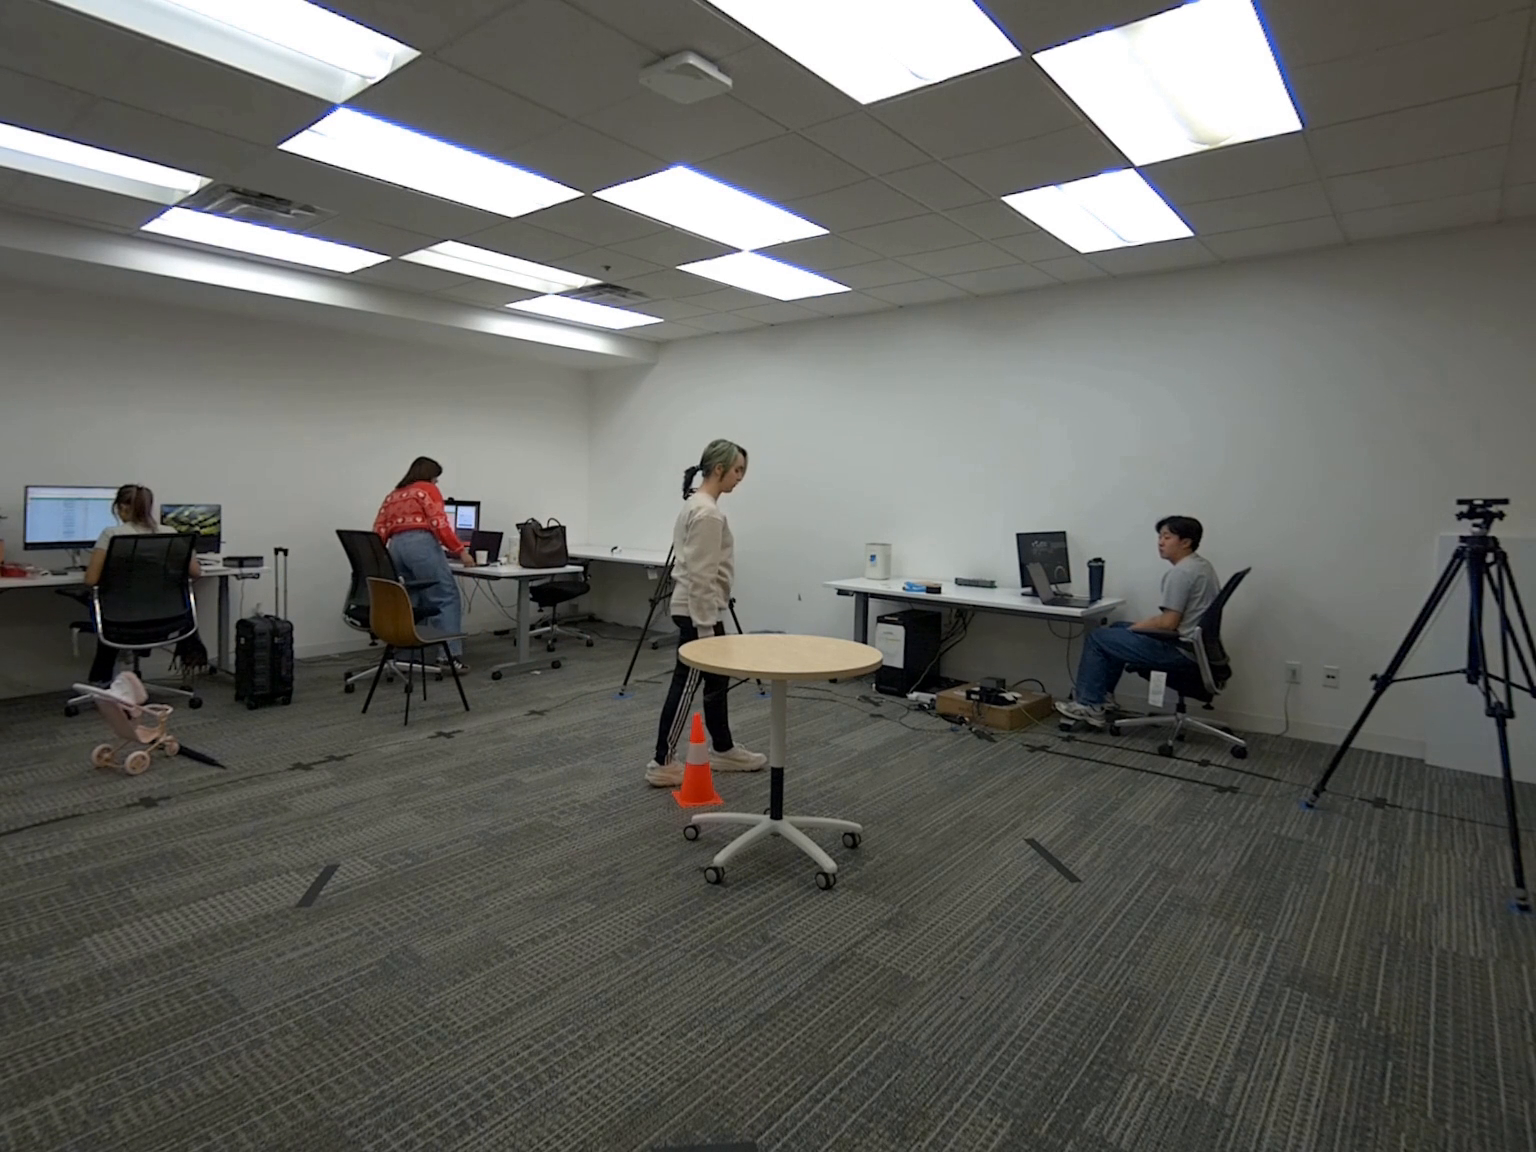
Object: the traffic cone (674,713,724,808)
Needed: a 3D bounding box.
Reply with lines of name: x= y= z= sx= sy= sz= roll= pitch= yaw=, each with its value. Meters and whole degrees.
traffic cone: x=-0.333 y=0.813 z=3.842 sx=0.200 sy=0.383 sz=0.208 roll=1 pitch=1 yaw=-14
